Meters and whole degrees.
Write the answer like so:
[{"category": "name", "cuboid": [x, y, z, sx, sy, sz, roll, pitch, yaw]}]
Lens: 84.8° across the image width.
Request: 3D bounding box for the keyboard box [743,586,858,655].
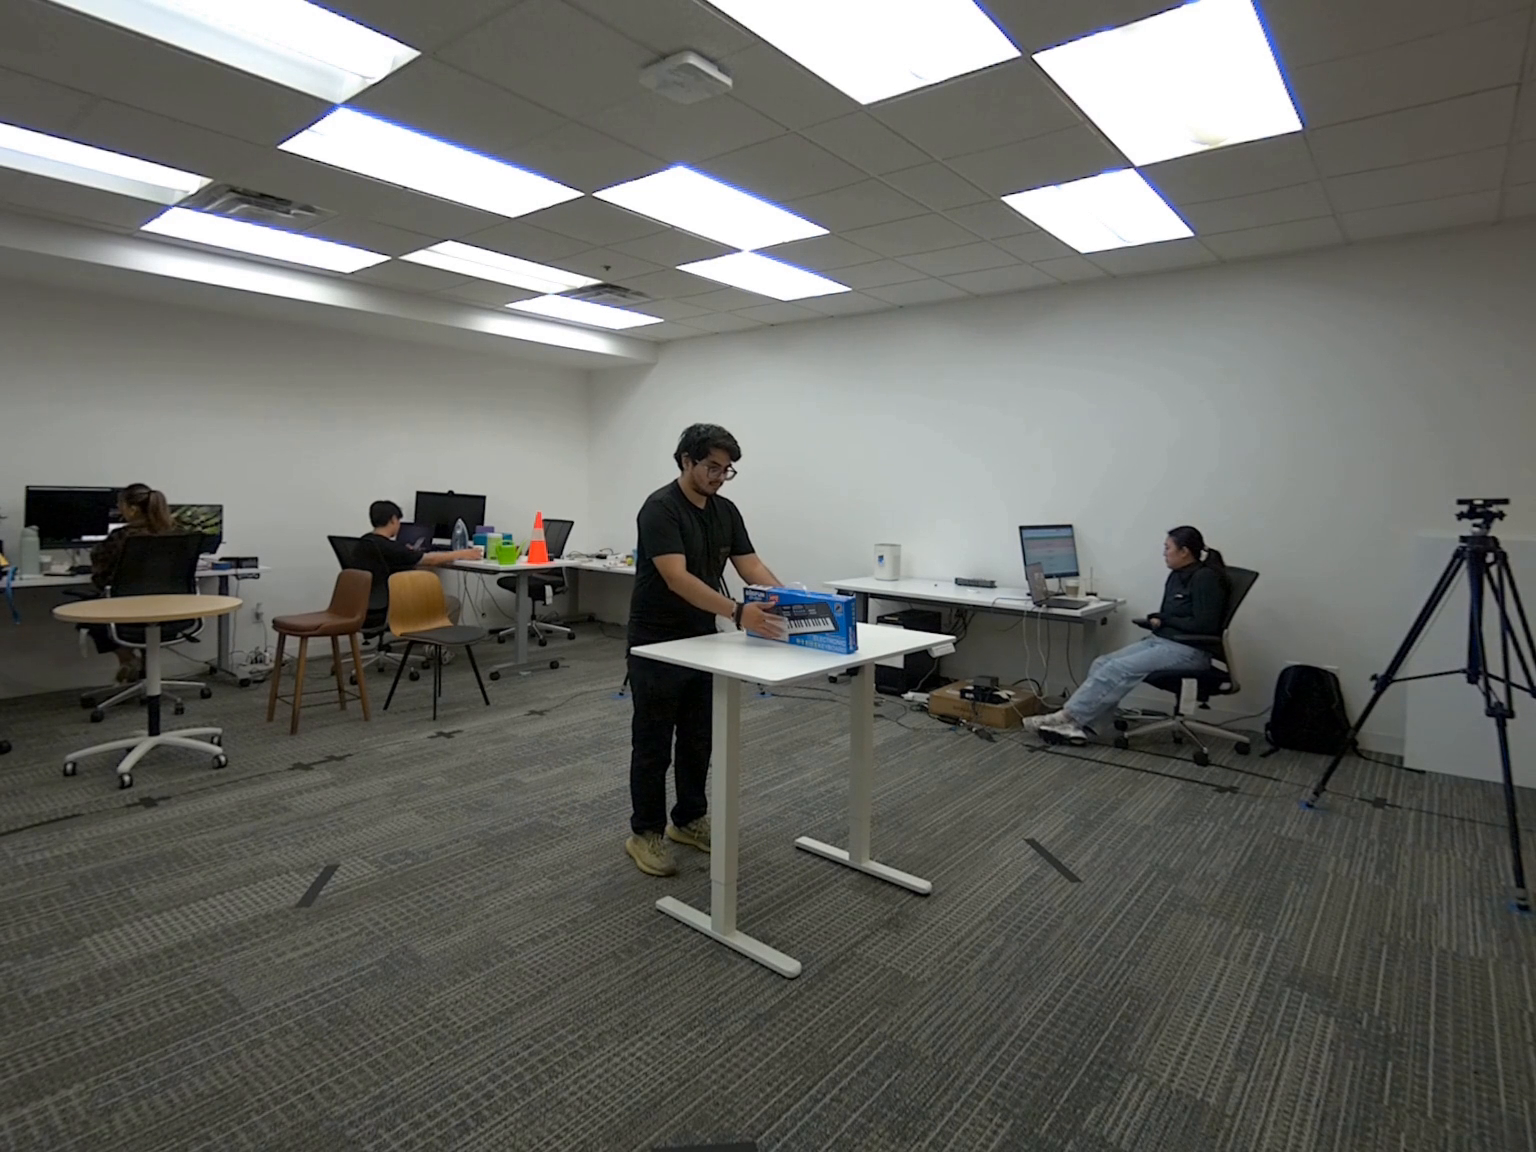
[{"category": "keyboard box", "cuboid": [0.092, 0.138, 2.800, 0.452, 0.174, 0.057, 6, 13, 44]}]
